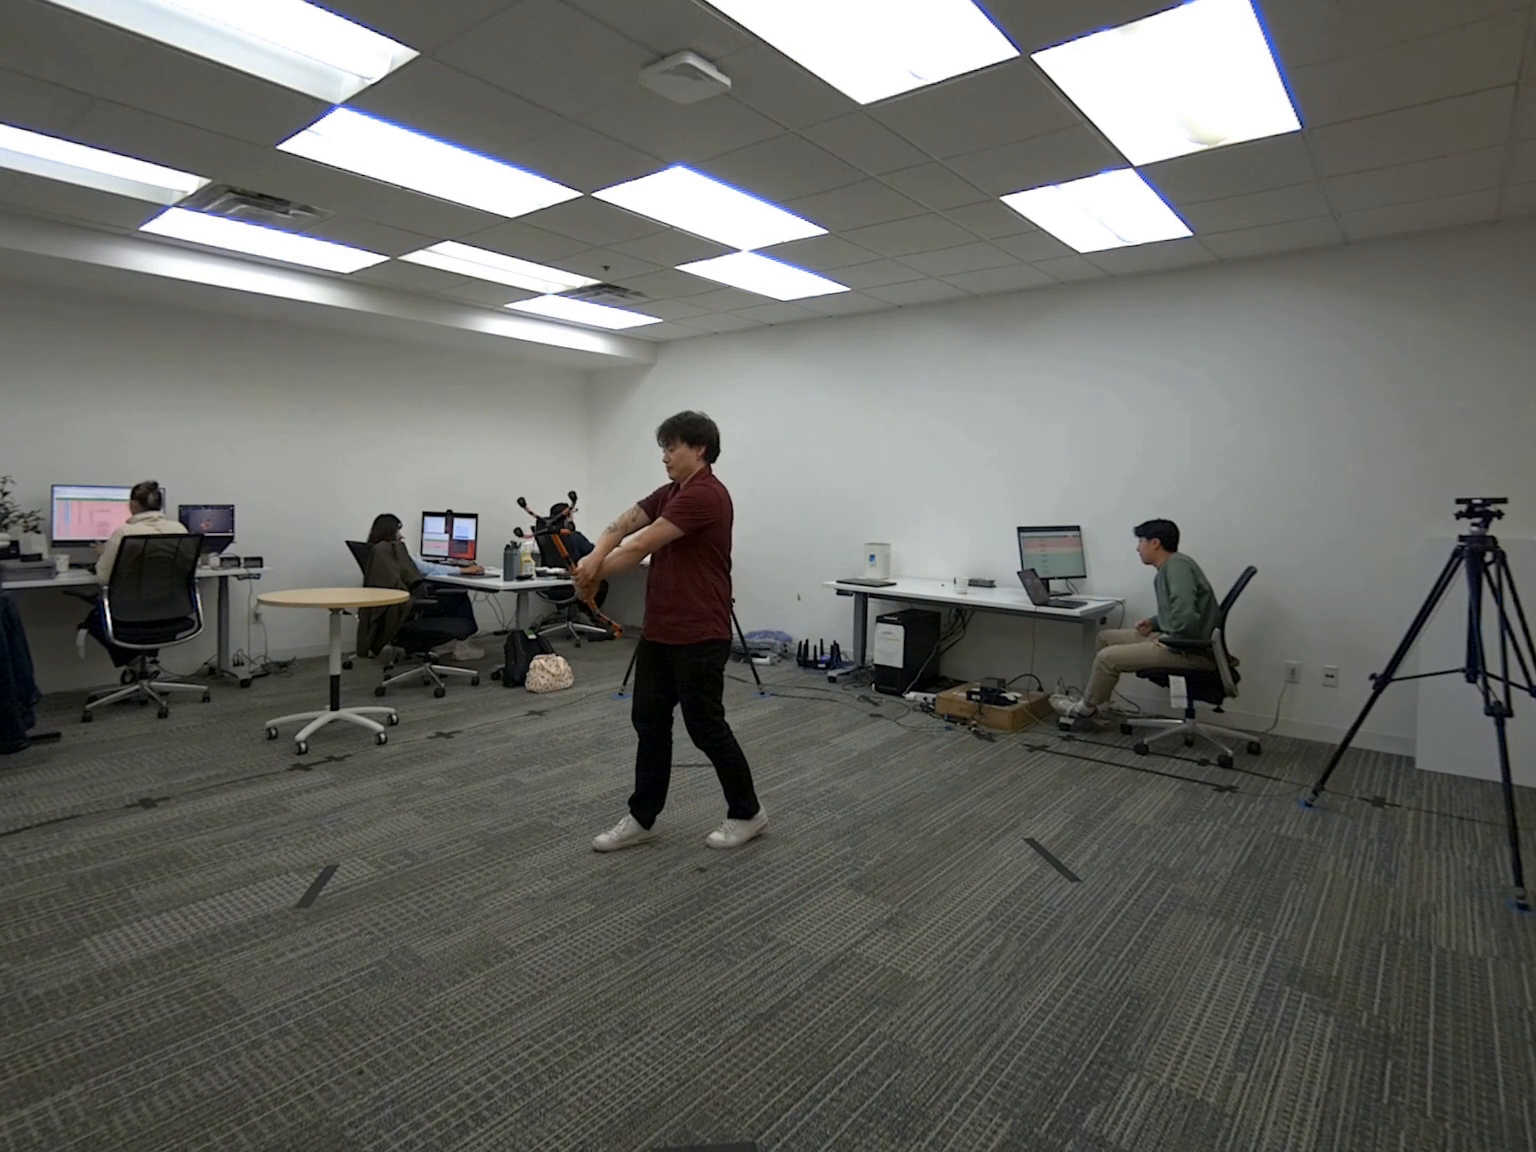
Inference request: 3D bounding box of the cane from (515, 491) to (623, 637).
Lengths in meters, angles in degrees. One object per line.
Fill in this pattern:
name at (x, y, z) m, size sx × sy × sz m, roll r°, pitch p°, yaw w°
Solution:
cane at (-0.705, 0.029, 3.164) m, size 0.208 × 0.156 × 0.877 m, roll -5°, pitch -34°, yaw 5°
